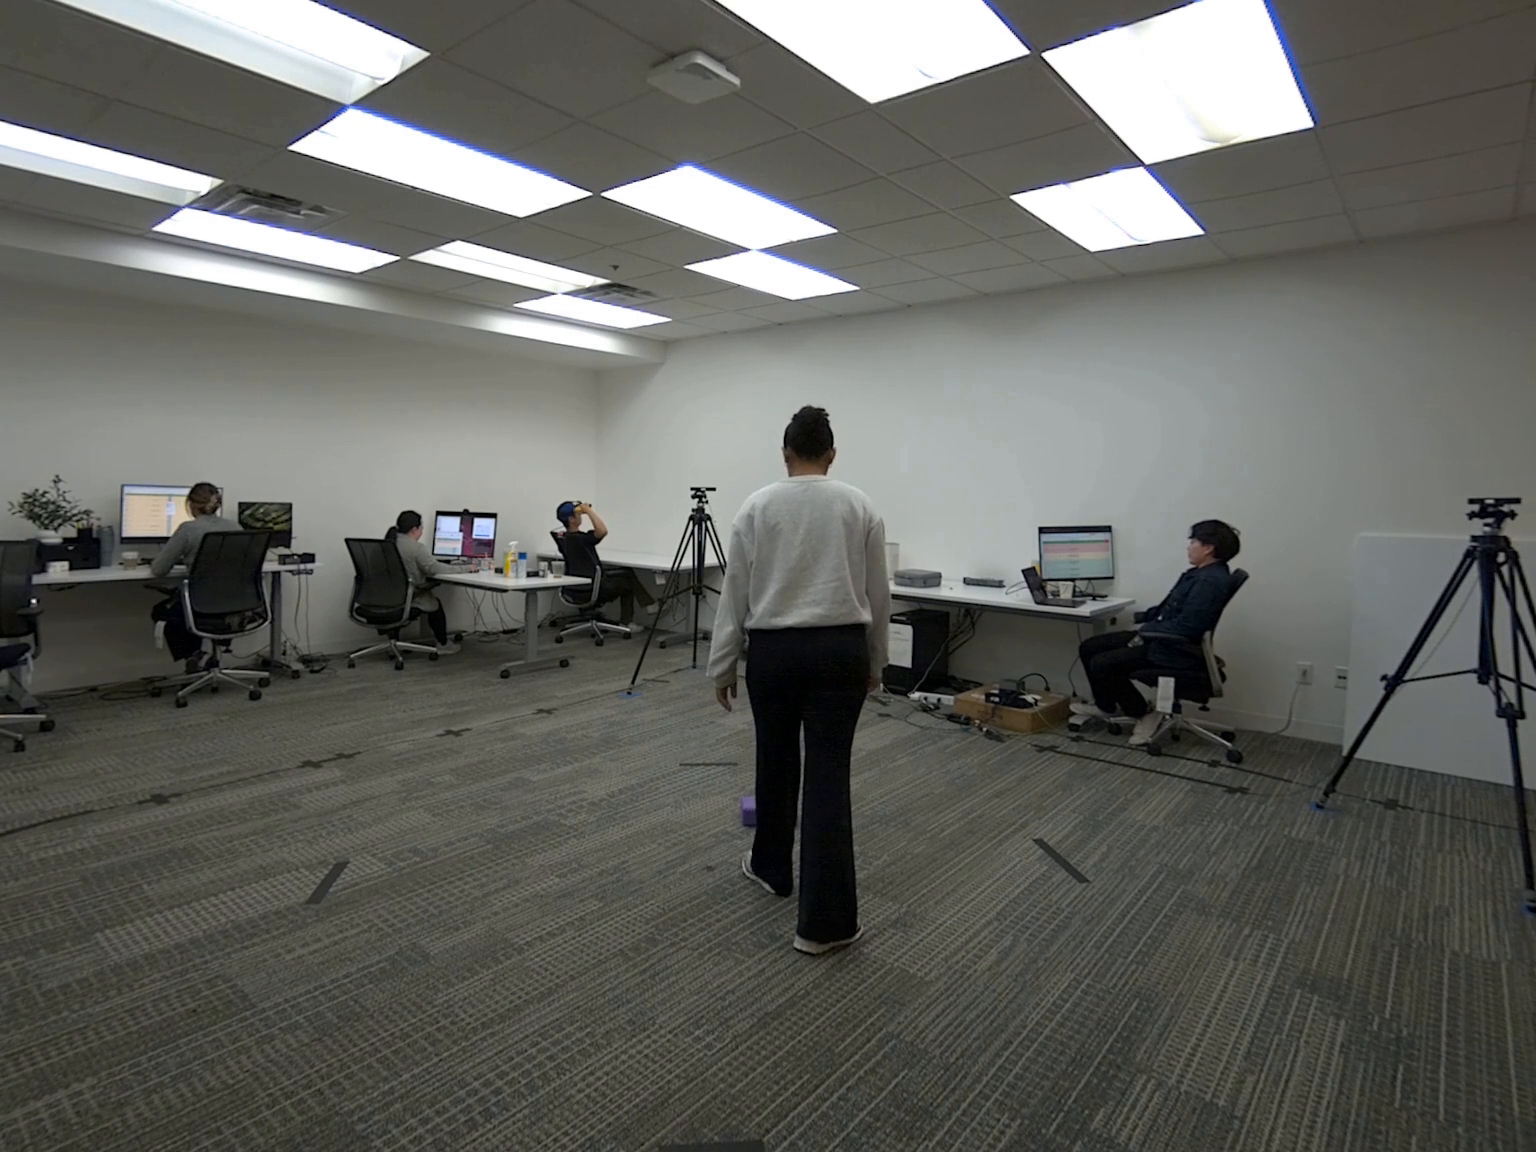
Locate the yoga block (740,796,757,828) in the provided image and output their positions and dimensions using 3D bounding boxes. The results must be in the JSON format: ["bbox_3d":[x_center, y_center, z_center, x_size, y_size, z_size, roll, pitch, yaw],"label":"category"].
[{"bbox_3d":[-0.005,0.980,3.571,0.229,0.076,0.150,1,6,-3],"label":"yoga block"}]
